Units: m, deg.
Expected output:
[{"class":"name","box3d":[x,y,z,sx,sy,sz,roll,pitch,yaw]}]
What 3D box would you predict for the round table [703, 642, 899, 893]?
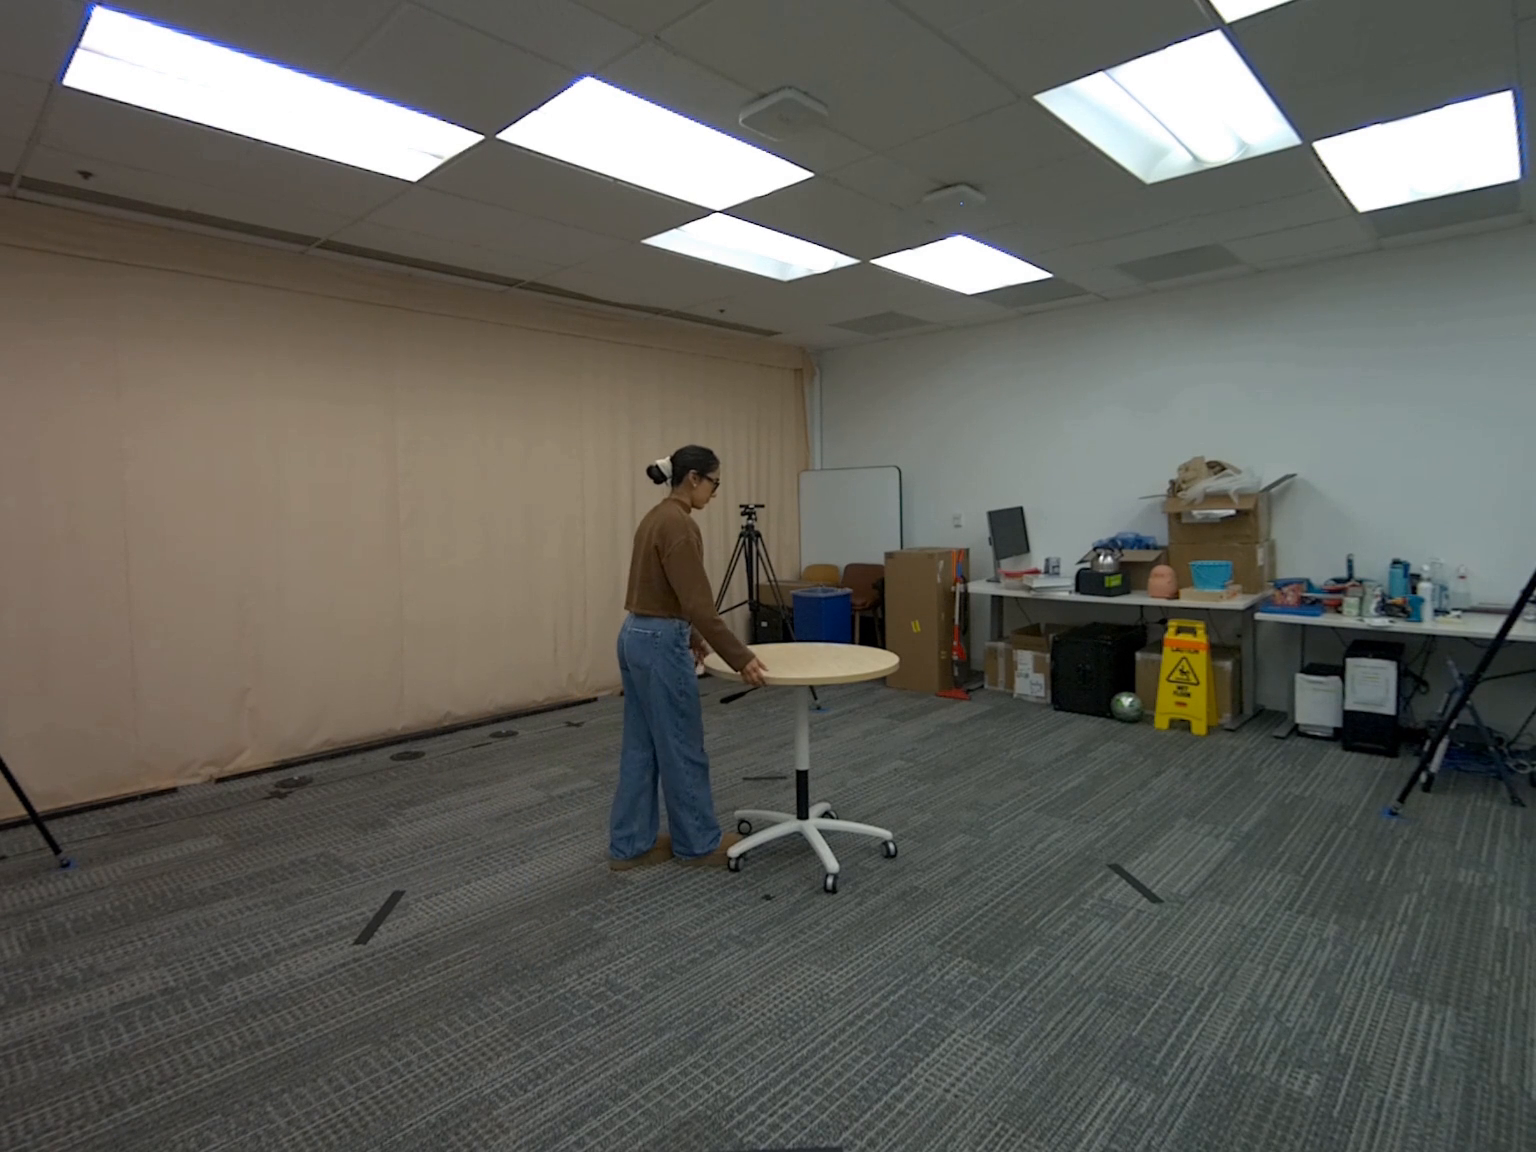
[{"class":"round table","box3d":[0.153,0.713,3.345,0.784,0.785,0.788,-1,3,-2]}]
